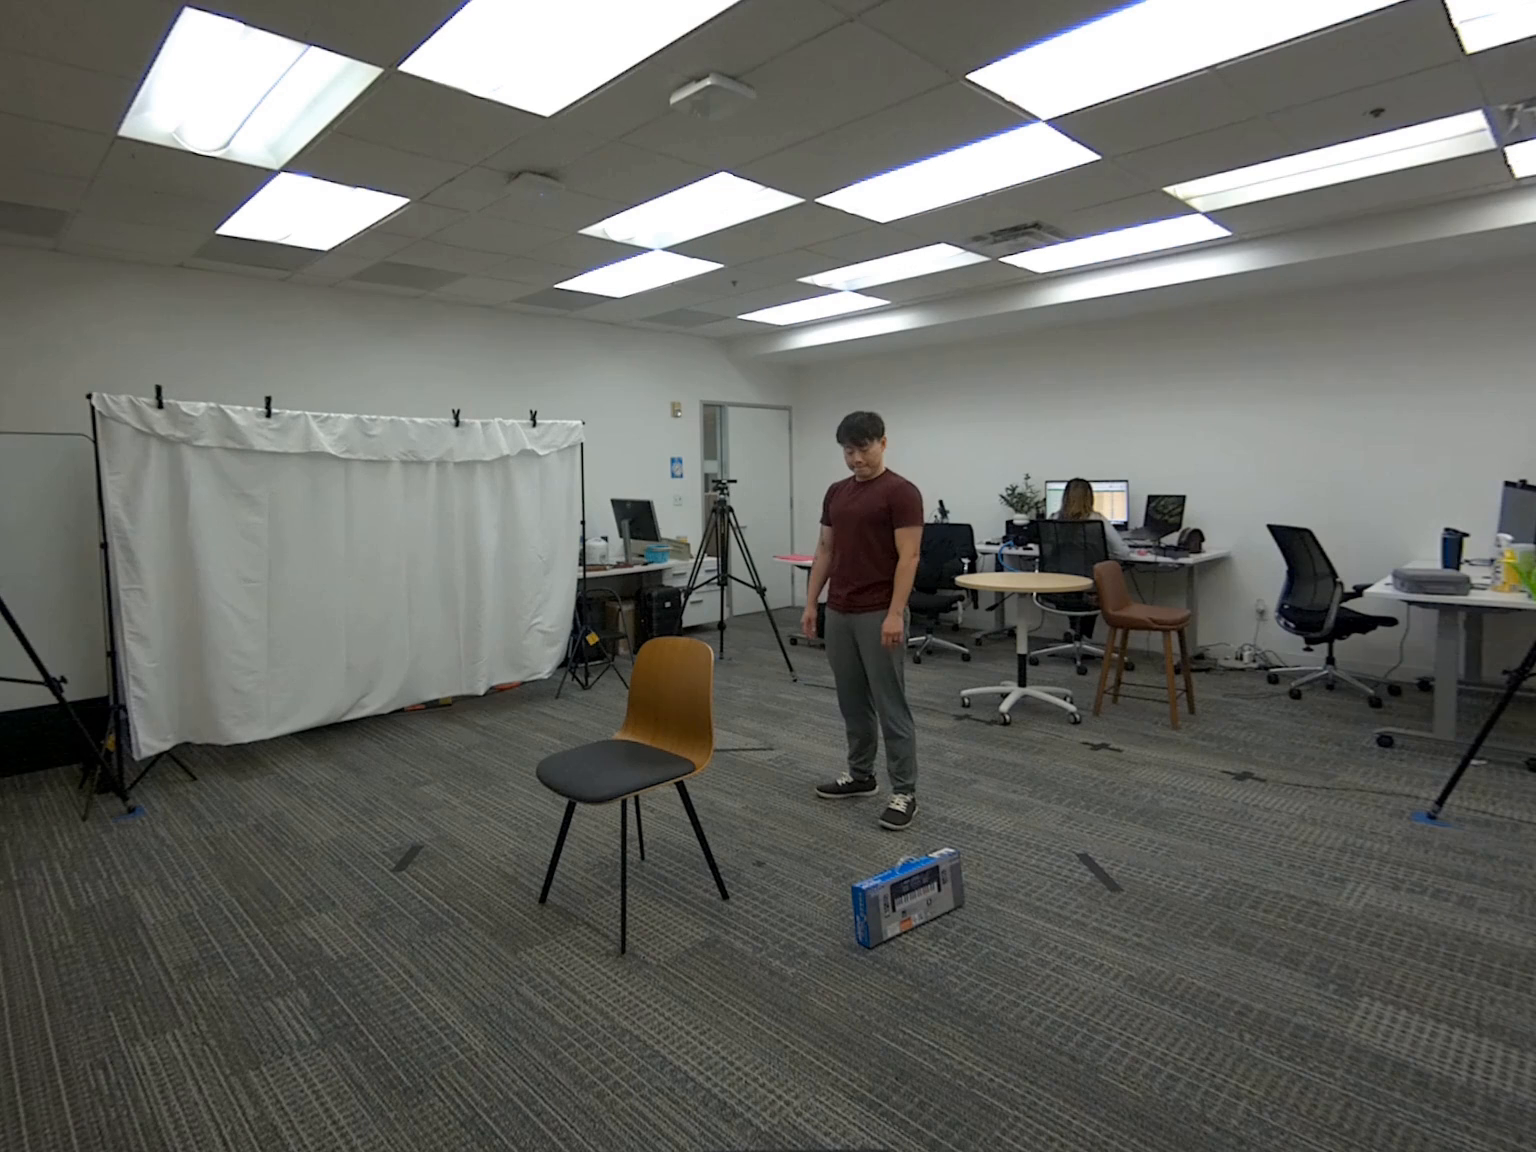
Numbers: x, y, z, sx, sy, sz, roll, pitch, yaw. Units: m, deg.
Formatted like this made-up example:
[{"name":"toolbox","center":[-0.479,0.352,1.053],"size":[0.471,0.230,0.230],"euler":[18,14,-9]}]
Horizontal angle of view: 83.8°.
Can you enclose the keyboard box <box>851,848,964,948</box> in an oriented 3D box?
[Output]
[{"name":"keyboard box","center":[0.447,0.996,2.673],"size":[0.426,0.176,0.060],"euler":[-5,-2,-35]}]
